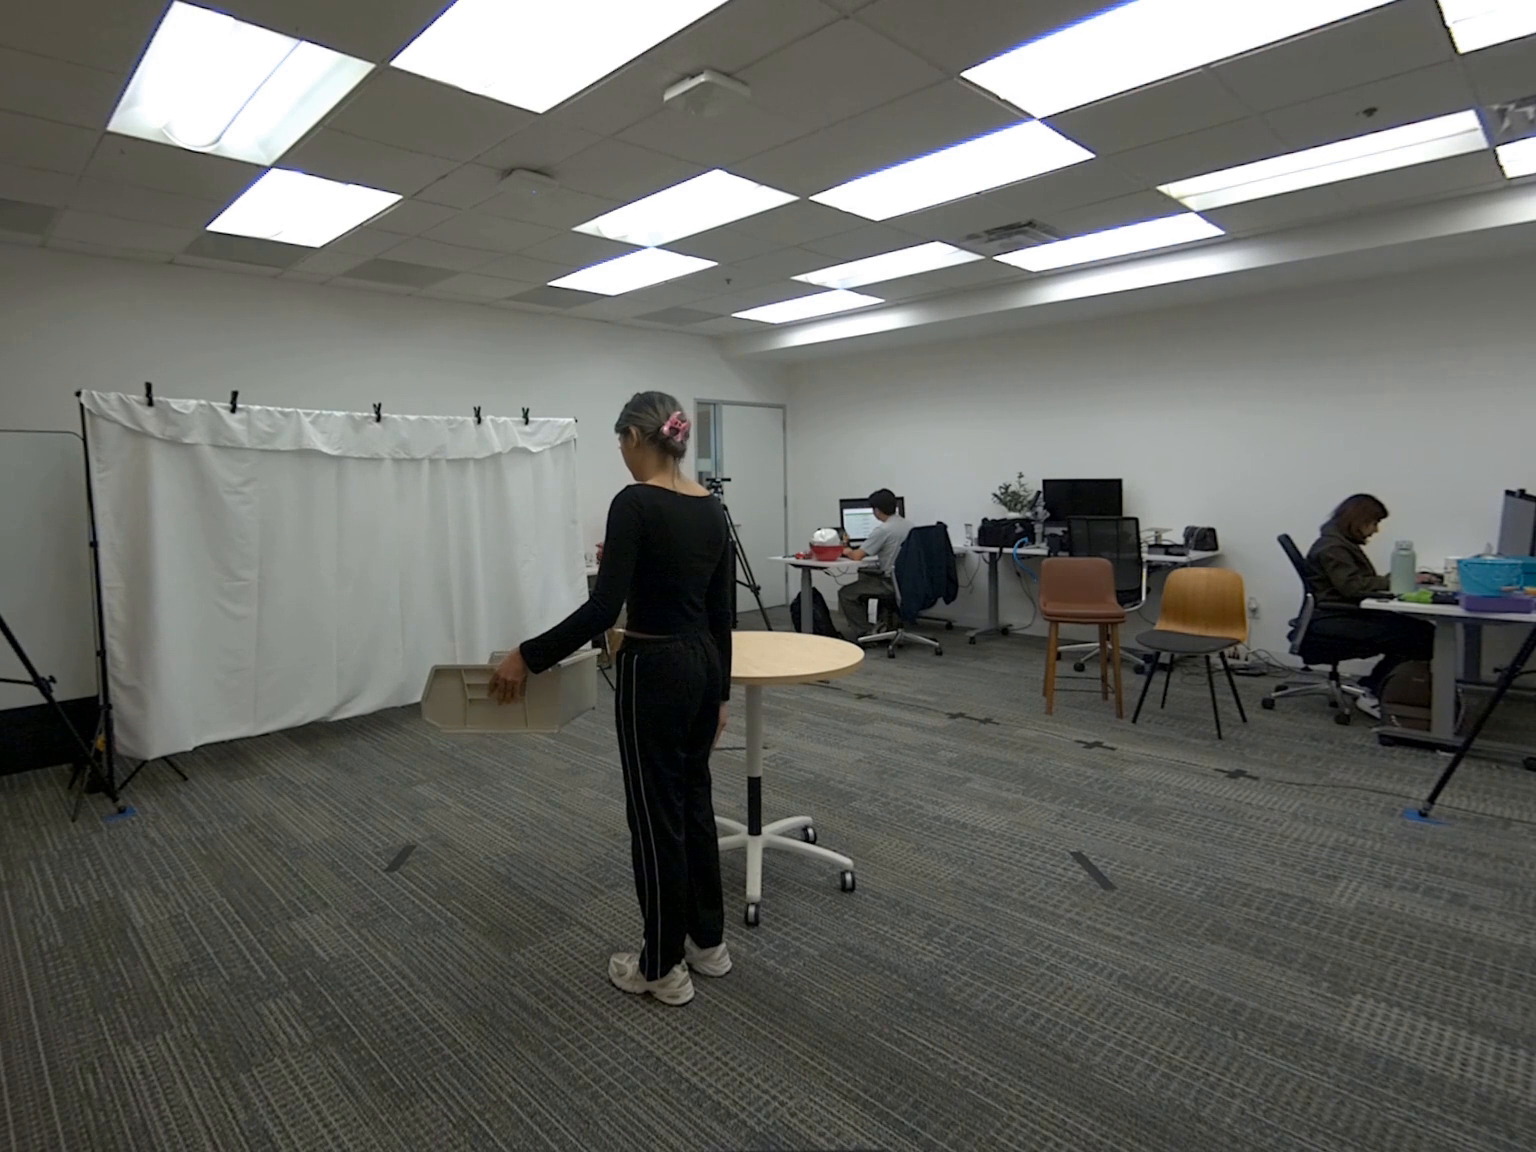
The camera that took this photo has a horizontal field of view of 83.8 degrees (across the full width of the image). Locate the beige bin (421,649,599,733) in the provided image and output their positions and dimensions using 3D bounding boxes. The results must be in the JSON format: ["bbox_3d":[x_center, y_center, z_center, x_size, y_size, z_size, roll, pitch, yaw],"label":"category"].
[{"bbox_3d":[-0.705,0.312,2.402,0.379,0.189,0.420,1,0,4],"label":"beige bin"}]
